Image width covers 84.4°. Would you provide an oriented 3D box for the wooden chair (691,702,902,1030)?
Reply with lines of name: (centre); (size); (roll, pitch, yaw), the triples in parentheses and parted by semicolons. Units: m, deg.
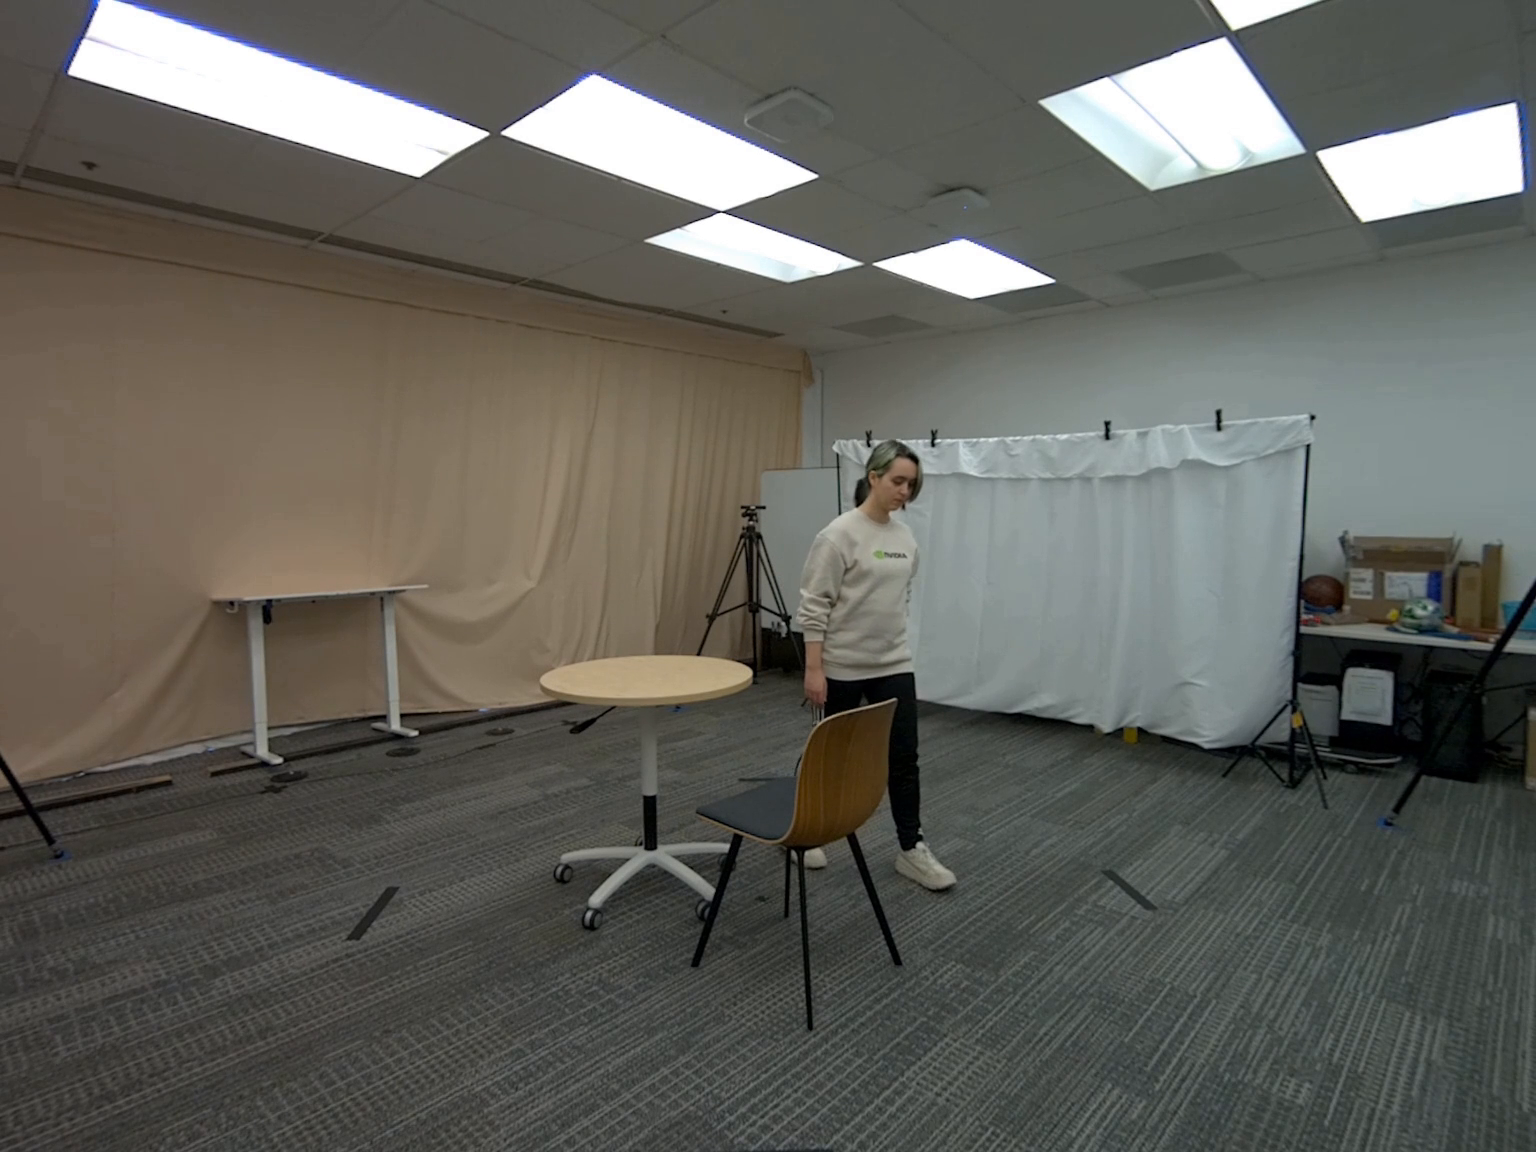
wooden chair: (0.080, 0.753, 2.525); (0.541, 0.874, 0.463); (9, 9, 42)
